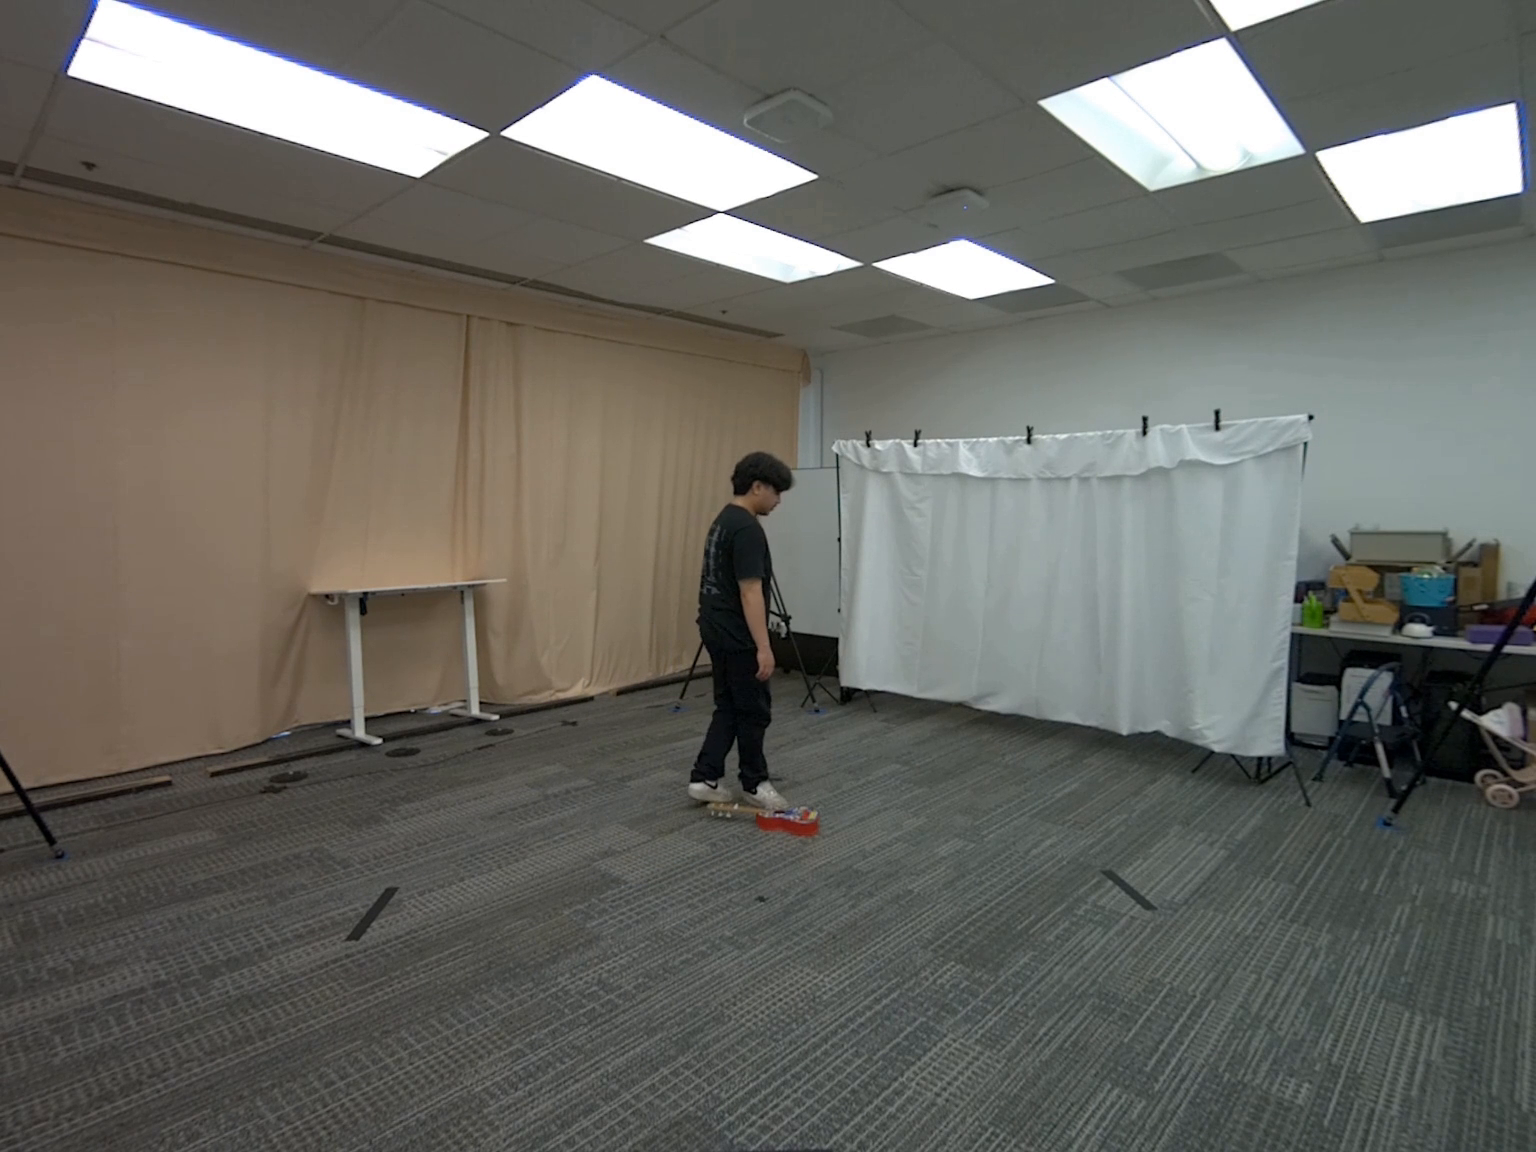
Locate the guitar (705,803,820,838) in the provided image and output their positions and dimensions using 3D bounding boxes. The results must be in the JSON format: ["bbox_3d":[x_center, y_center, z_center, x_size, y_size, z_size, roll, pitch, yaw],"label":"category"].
[{"bbox_3d":[-0.011,1.048,3.715,0.510,0.070,0.189,2,5,24],"label":"guitar"}]
